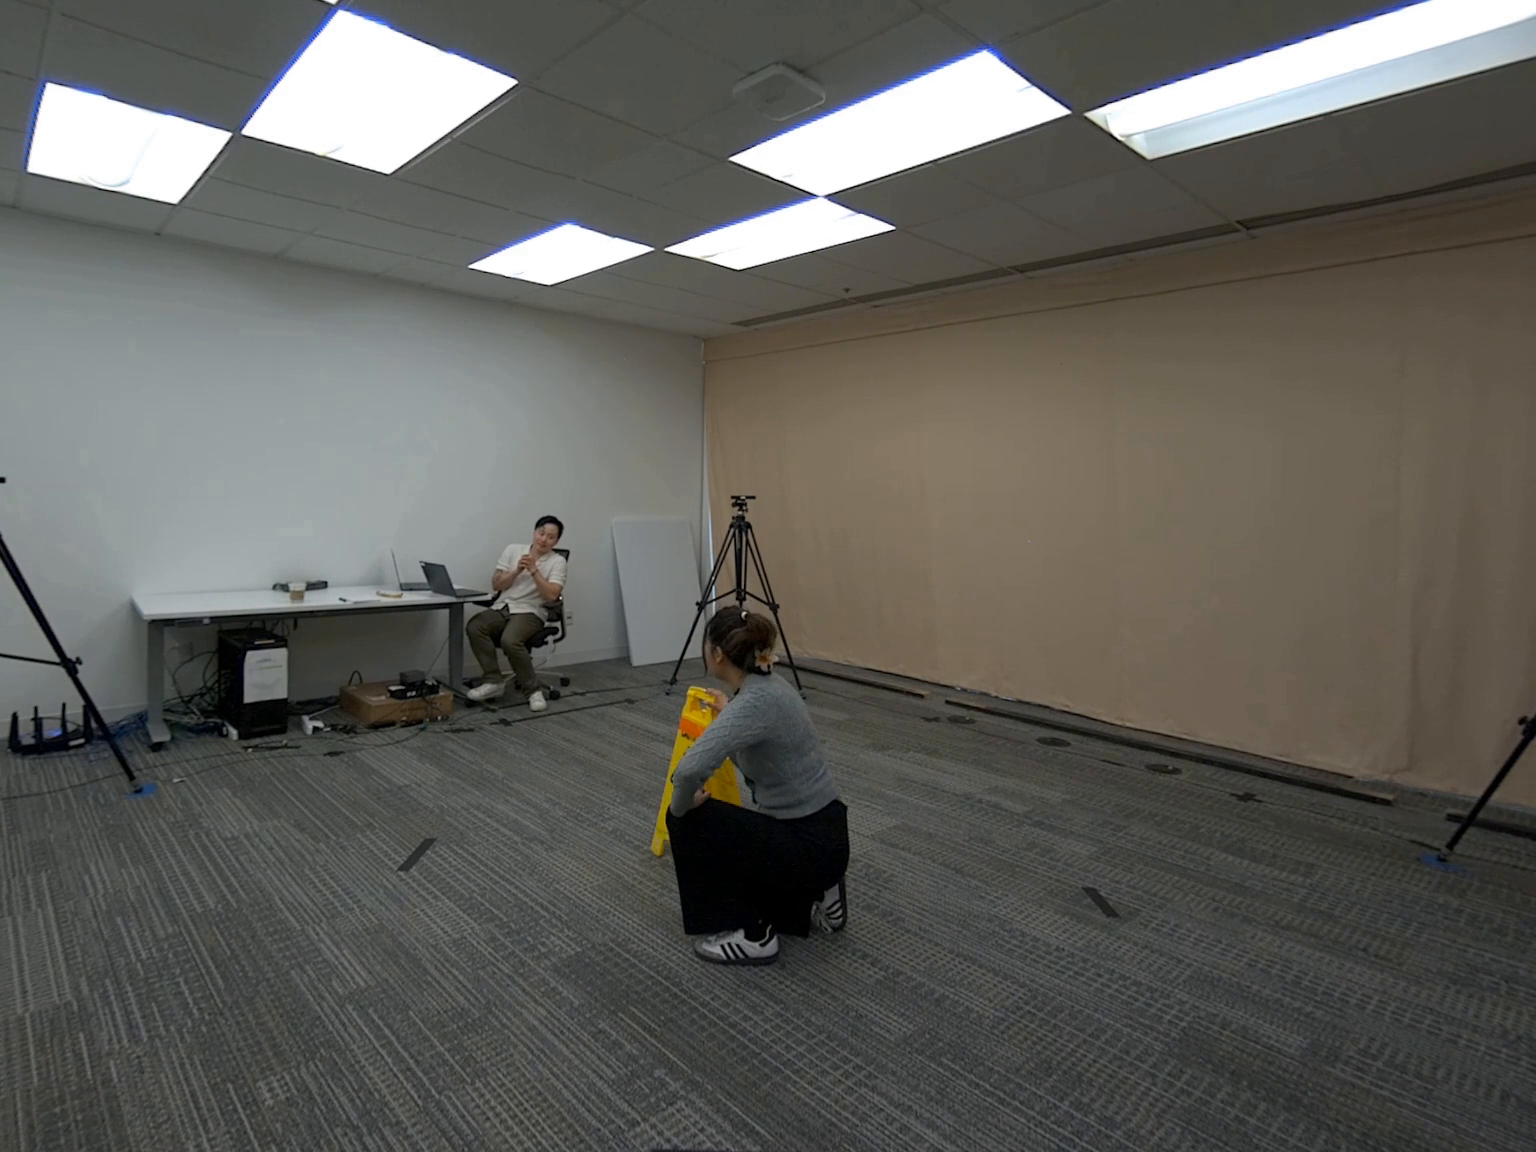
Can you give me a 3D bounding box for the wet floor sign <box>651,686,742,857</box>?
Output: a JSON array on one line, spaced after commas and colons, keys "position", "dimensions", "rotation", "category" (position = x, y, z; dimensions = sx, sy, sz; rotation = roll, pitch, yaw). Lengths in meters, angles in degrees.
[{"position": [-0.259, 0.764, 3.253], "dimensions": [0.283, 0.645, 0.289], "rotation": [0, 3, -35], "category": "wet floor sign"}]
